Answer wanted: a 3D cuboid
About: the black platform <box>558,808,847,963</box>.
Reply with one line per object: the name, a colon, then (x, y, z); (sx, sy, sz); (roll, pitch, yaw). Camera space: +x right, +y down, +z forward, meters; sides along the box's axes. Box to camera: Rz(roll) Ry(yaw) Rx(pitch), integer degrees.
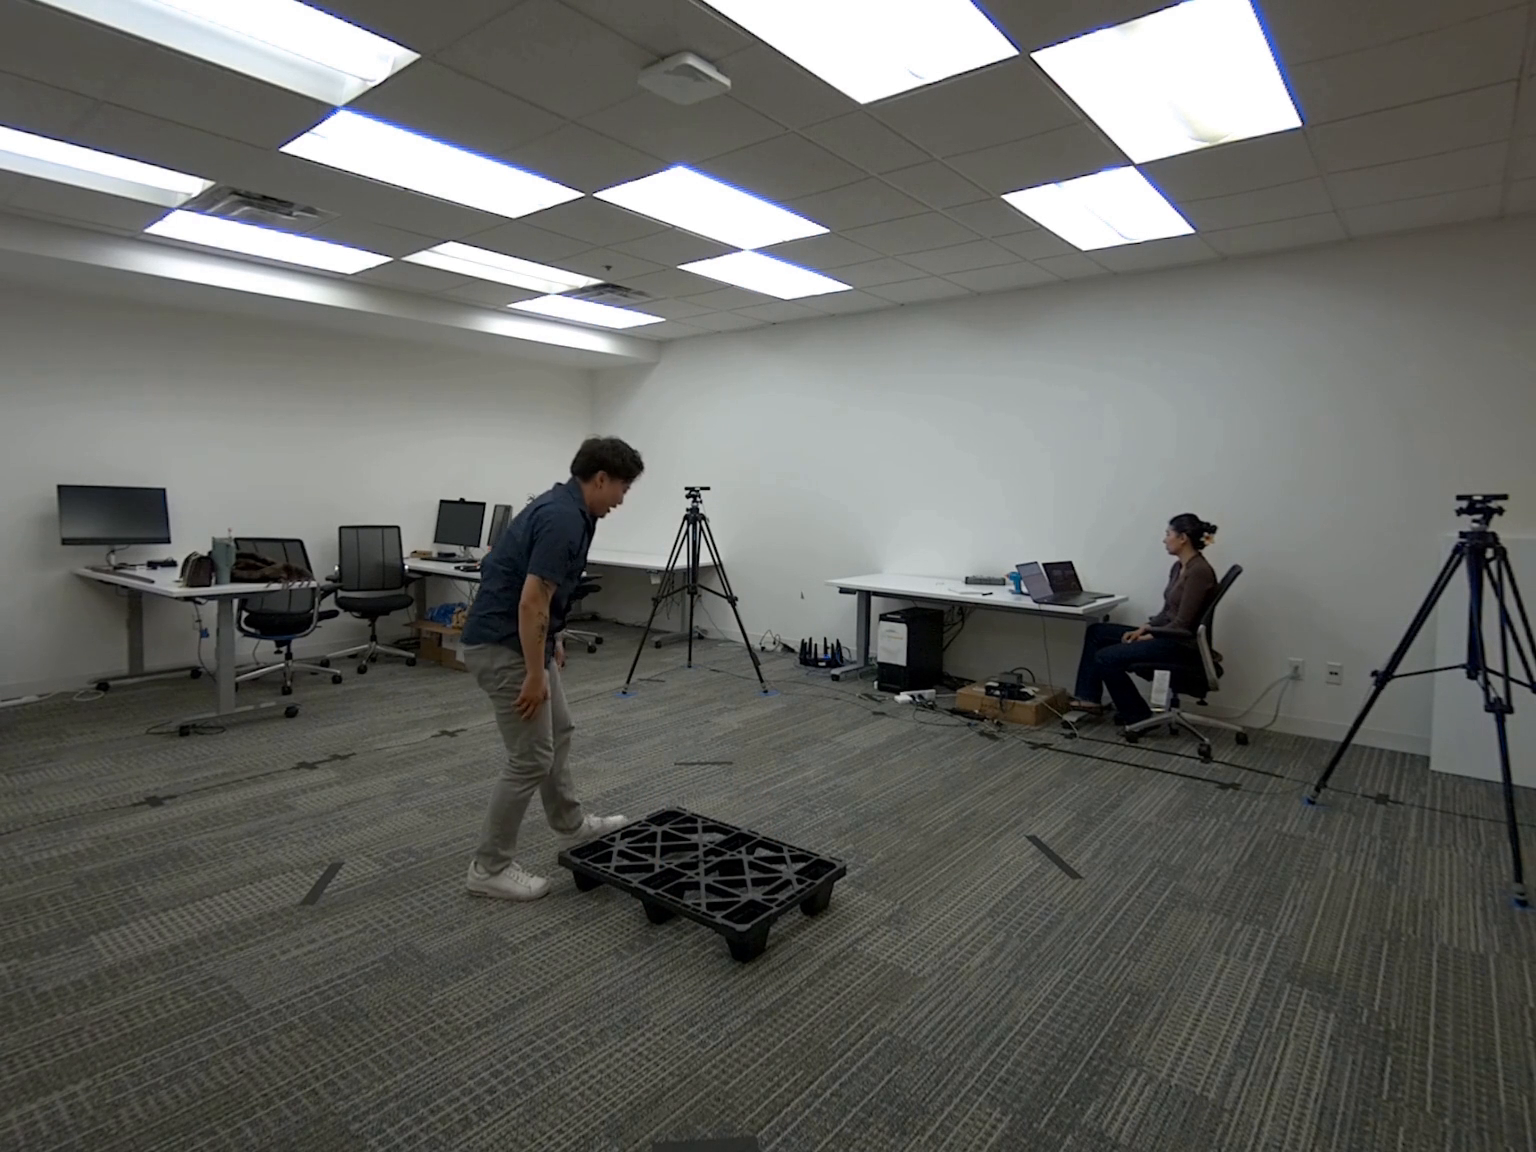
black platform: (-0.233, 1.021, 2.881); (0.832, 0.143, 0.588); (5, 7, 37)
